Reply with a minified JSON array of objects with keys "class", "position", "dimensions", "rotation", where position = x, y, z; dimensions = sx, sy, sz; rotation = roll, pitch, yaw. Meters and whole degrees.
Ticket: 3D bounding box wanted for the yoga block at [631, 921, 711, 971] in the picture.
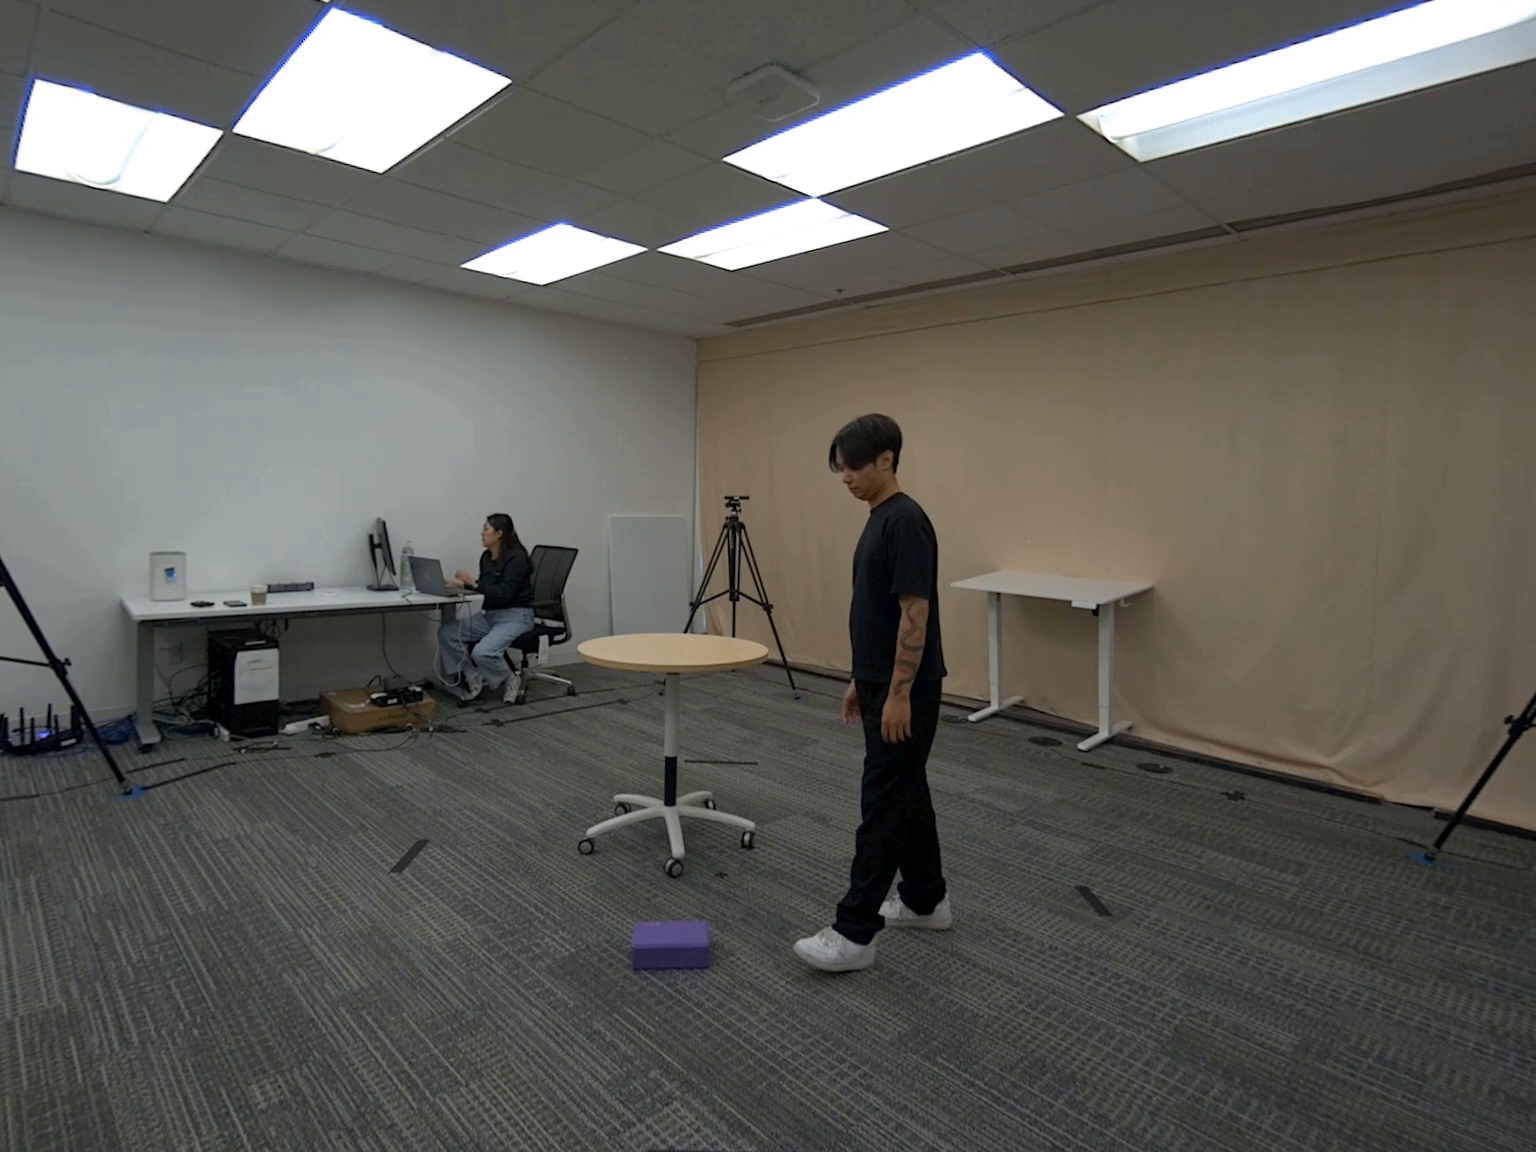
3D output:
[{"class":"yoga block","position":[-0.293,1.109,2.539],"dimensions":[0.228,0.076,0.150],"rotation":[0,4,-5]}]
